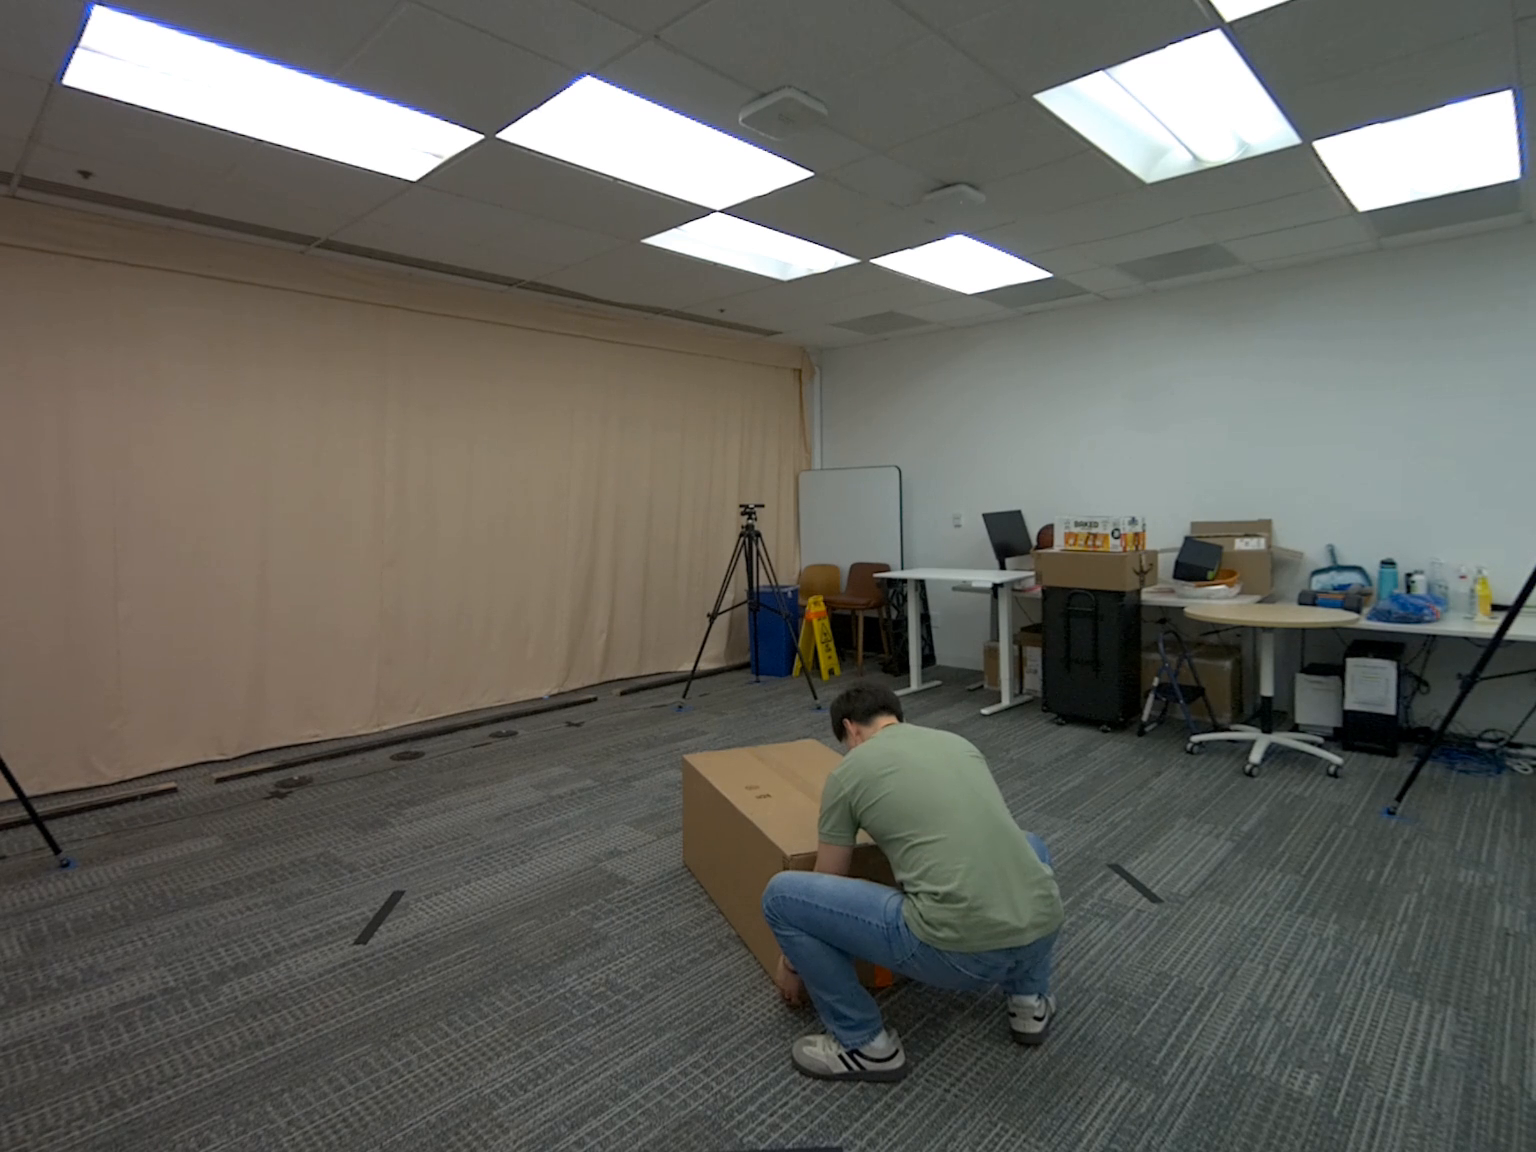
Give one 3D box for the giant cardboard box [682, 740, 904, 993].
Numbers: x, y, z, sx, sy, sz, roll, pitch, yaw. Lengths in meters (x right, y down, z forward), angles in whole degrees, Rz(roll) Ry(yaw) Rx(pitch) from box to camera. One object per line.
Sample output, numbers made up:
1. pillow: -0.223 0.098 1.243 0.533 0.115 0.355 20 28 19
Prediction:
1. giant cardboard box: 0.133 0.931 2.891 0.566 0.425 1.050 -3 5 -22
